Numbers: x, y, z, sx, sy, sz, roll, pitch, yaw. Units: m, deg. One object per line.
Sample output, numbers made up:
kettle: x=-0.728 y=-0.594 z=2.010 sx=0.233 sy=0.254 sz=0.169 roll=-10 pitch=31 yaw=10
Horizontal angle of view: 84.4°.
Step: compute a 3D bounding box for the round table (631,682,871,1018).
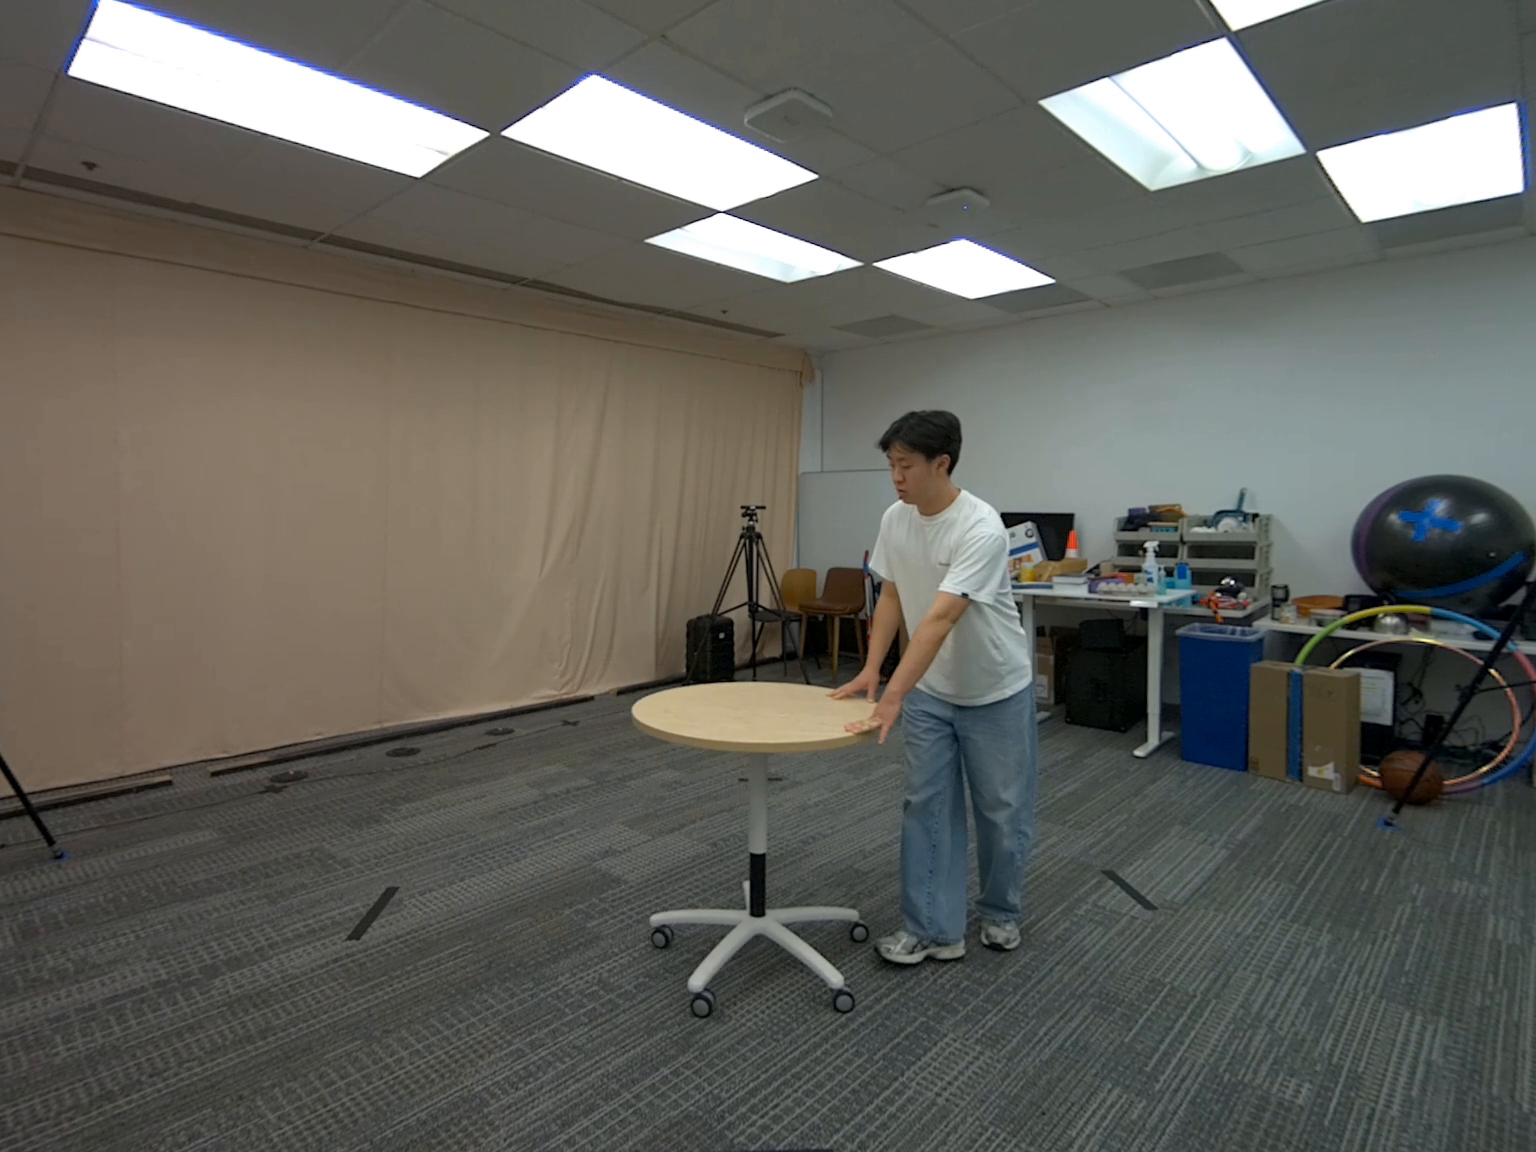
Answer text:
round table: x=-0.020 y=0.797 z=2.574 sx=0.763 sy=0.792 sz=0.767 roll=0 pitch=4 yaw=-2
